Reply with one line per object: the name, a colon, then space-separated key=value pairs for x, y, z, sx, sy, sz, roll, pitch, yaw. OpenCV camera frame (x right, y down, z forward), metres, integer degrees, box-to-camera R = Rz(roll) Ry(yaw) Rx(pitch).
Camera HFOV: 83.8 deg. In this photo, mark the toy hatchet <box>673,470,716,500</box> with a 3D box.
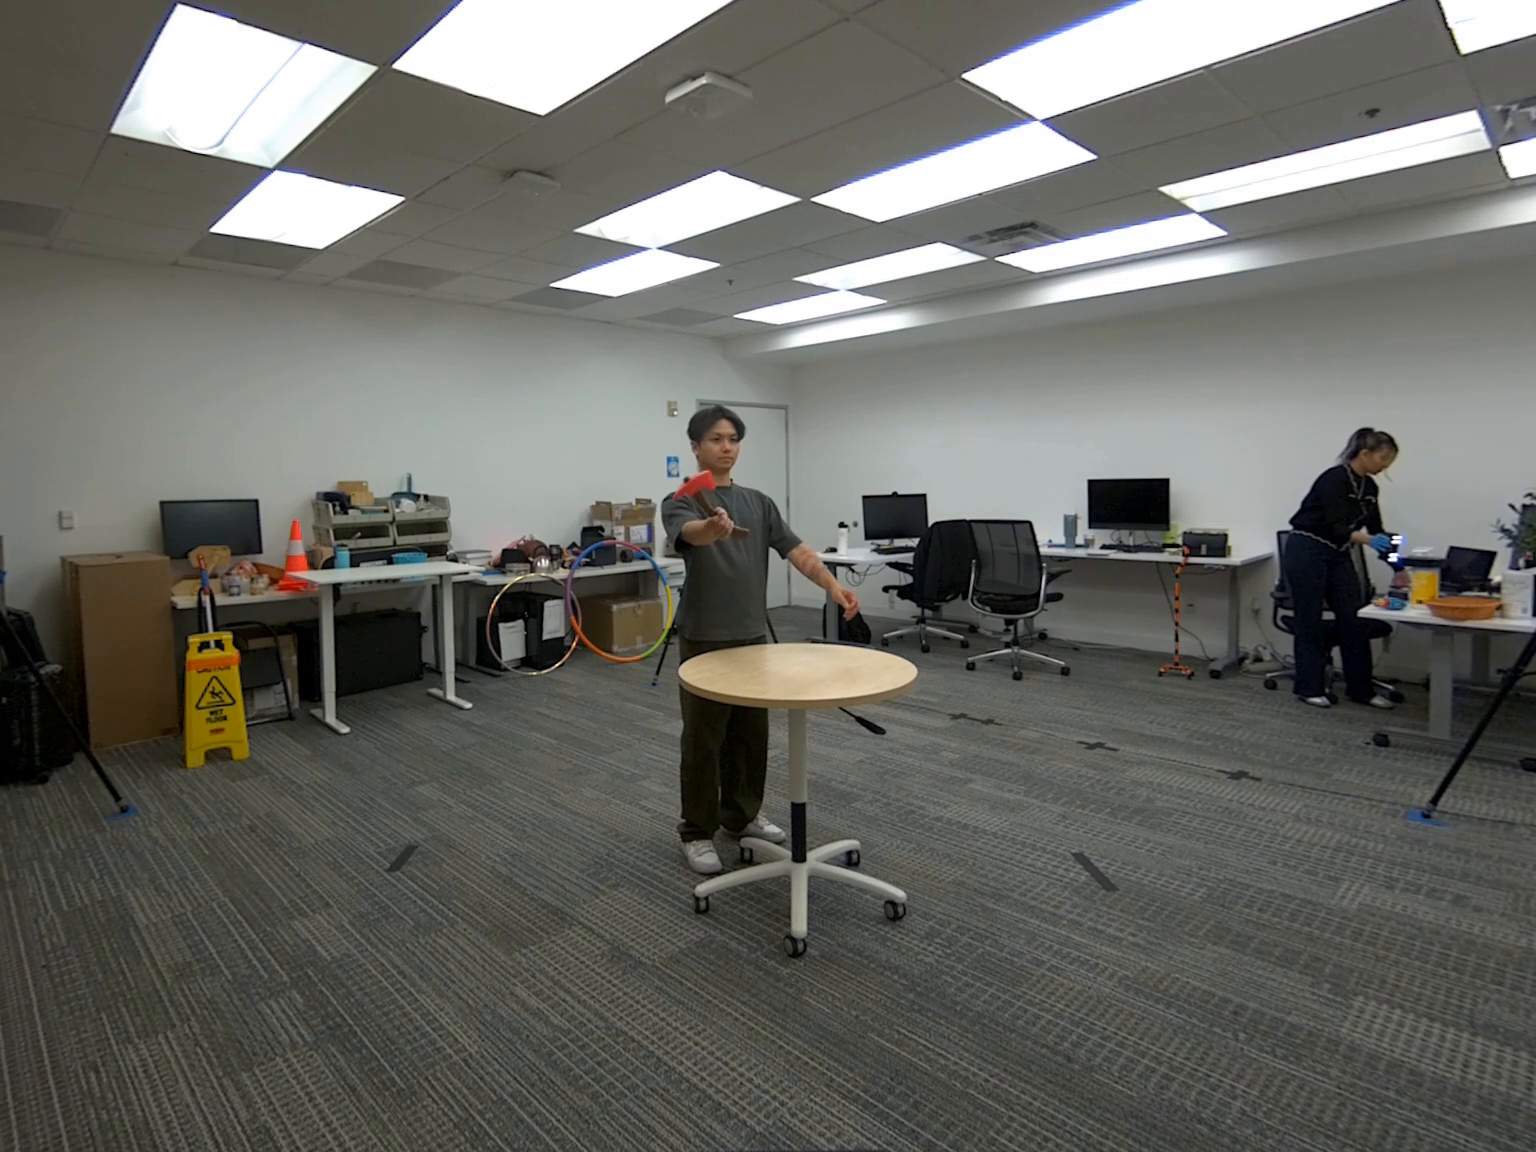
toy hatchet: x=-0.147 y=-0.213 z=2.558 sx=0.263 sy=0.131 sz=0.030 roll=30 pitch=11 yaw=-22
